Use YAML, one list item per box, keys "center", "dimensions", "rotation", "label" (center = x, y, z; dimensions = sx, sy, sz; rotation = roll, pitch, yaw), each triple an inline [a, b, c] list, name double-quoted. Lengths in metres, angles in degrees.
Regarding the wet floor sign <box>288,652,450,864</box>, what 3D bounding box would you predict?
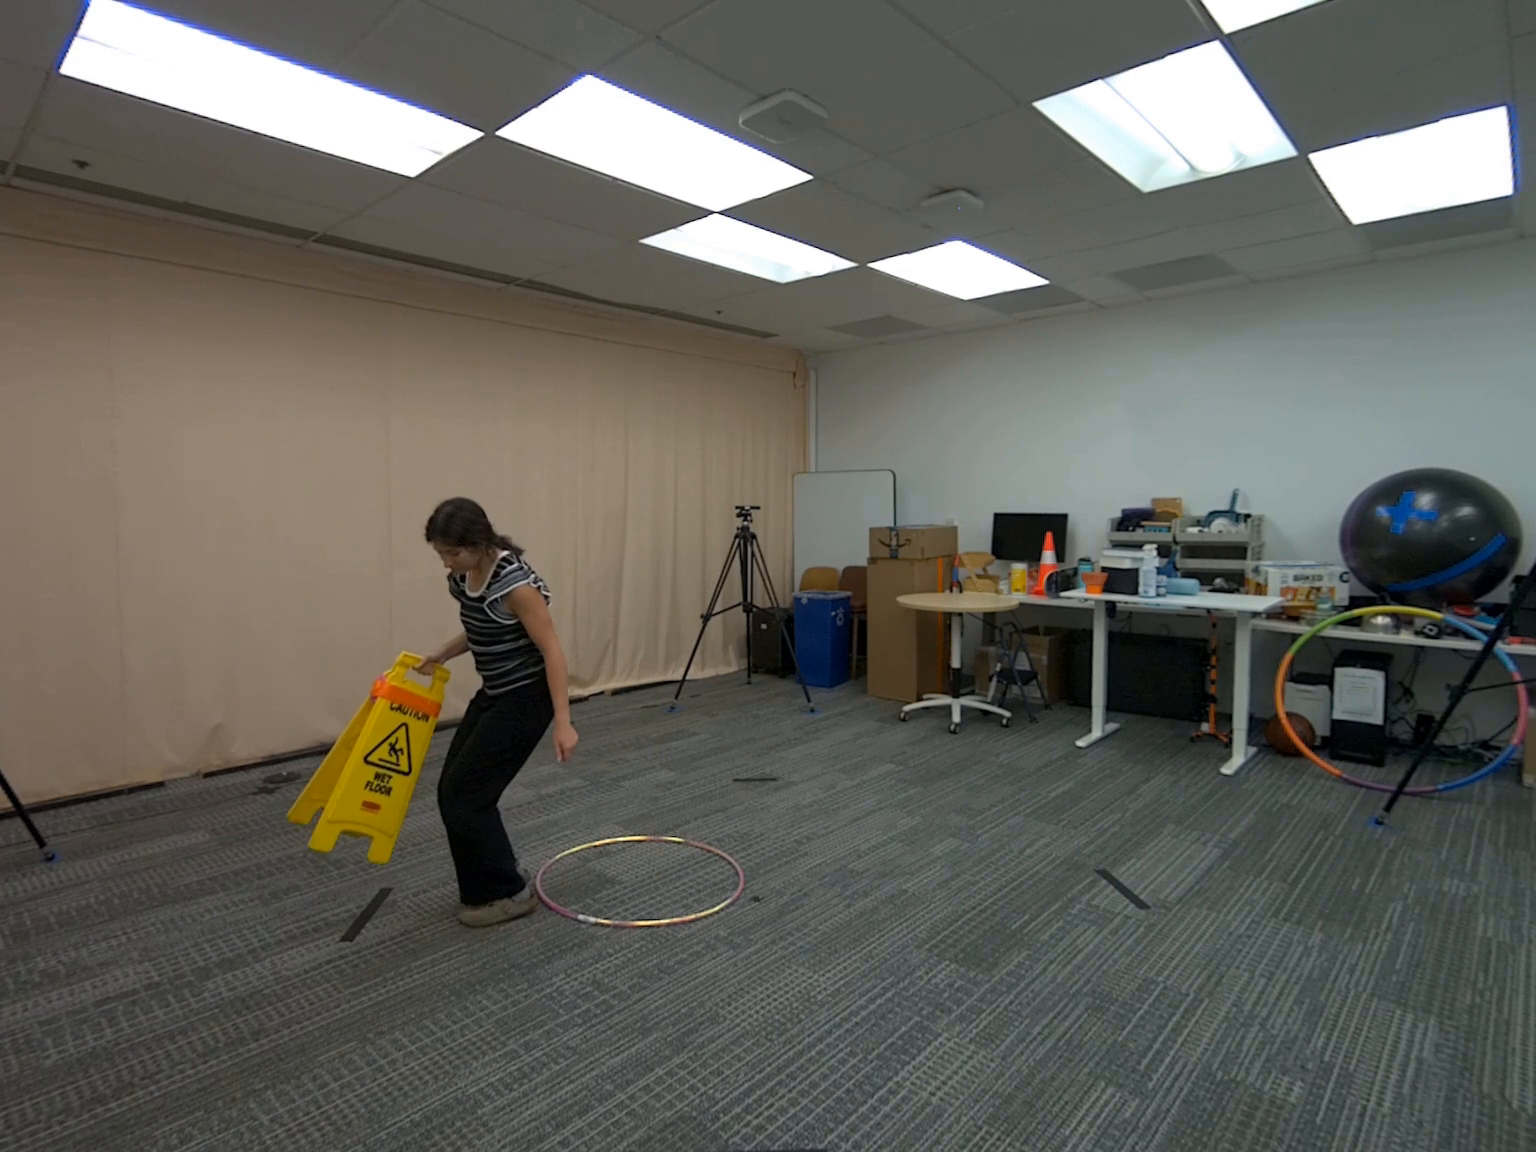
- center: [-1.283, 0.567, 2.829]
  dimensions: [0.300, 0.647, 0.272]
  rotation: [12, -16, 47]
  label: "wet floor sign"
